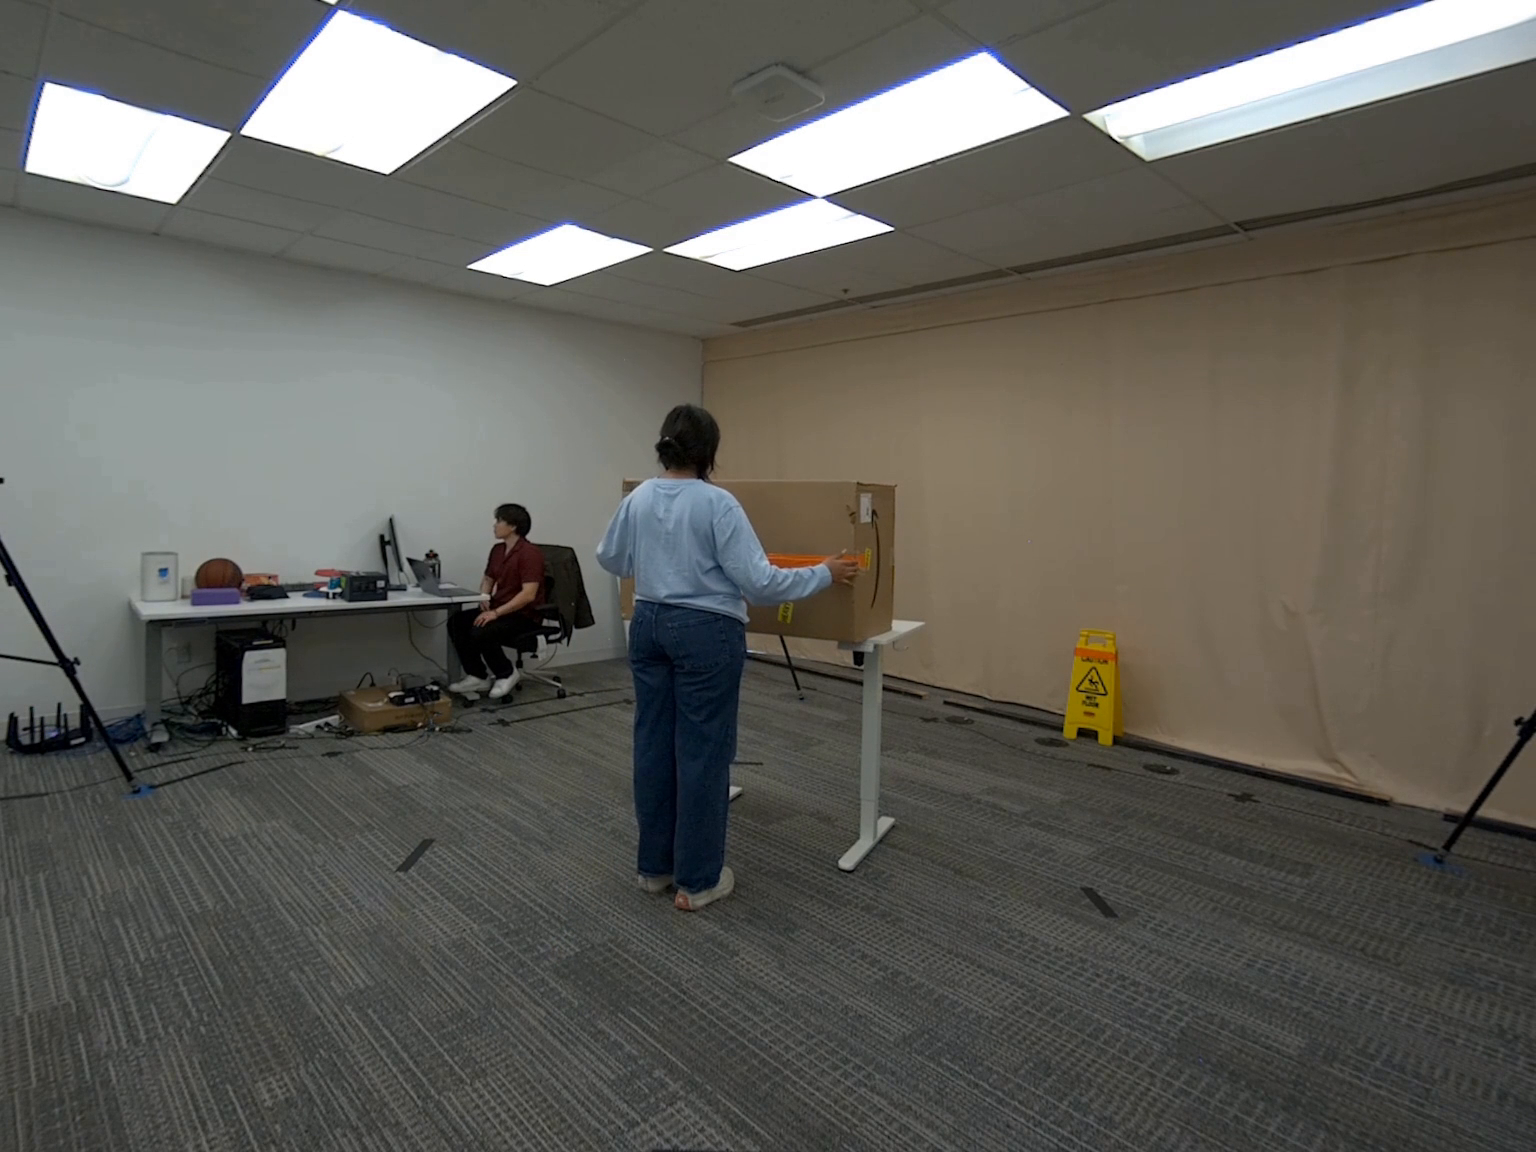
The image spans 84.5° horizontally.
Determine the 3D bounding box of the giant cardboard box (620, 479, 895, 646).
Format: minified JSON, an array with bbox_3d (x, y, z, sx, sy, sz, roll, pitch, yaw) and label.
[{"bbox_3d":[-0.050,-0.086,3.388,1.048,0.576,0.418,4,4,29],"label":"giant cardboard box"}]
